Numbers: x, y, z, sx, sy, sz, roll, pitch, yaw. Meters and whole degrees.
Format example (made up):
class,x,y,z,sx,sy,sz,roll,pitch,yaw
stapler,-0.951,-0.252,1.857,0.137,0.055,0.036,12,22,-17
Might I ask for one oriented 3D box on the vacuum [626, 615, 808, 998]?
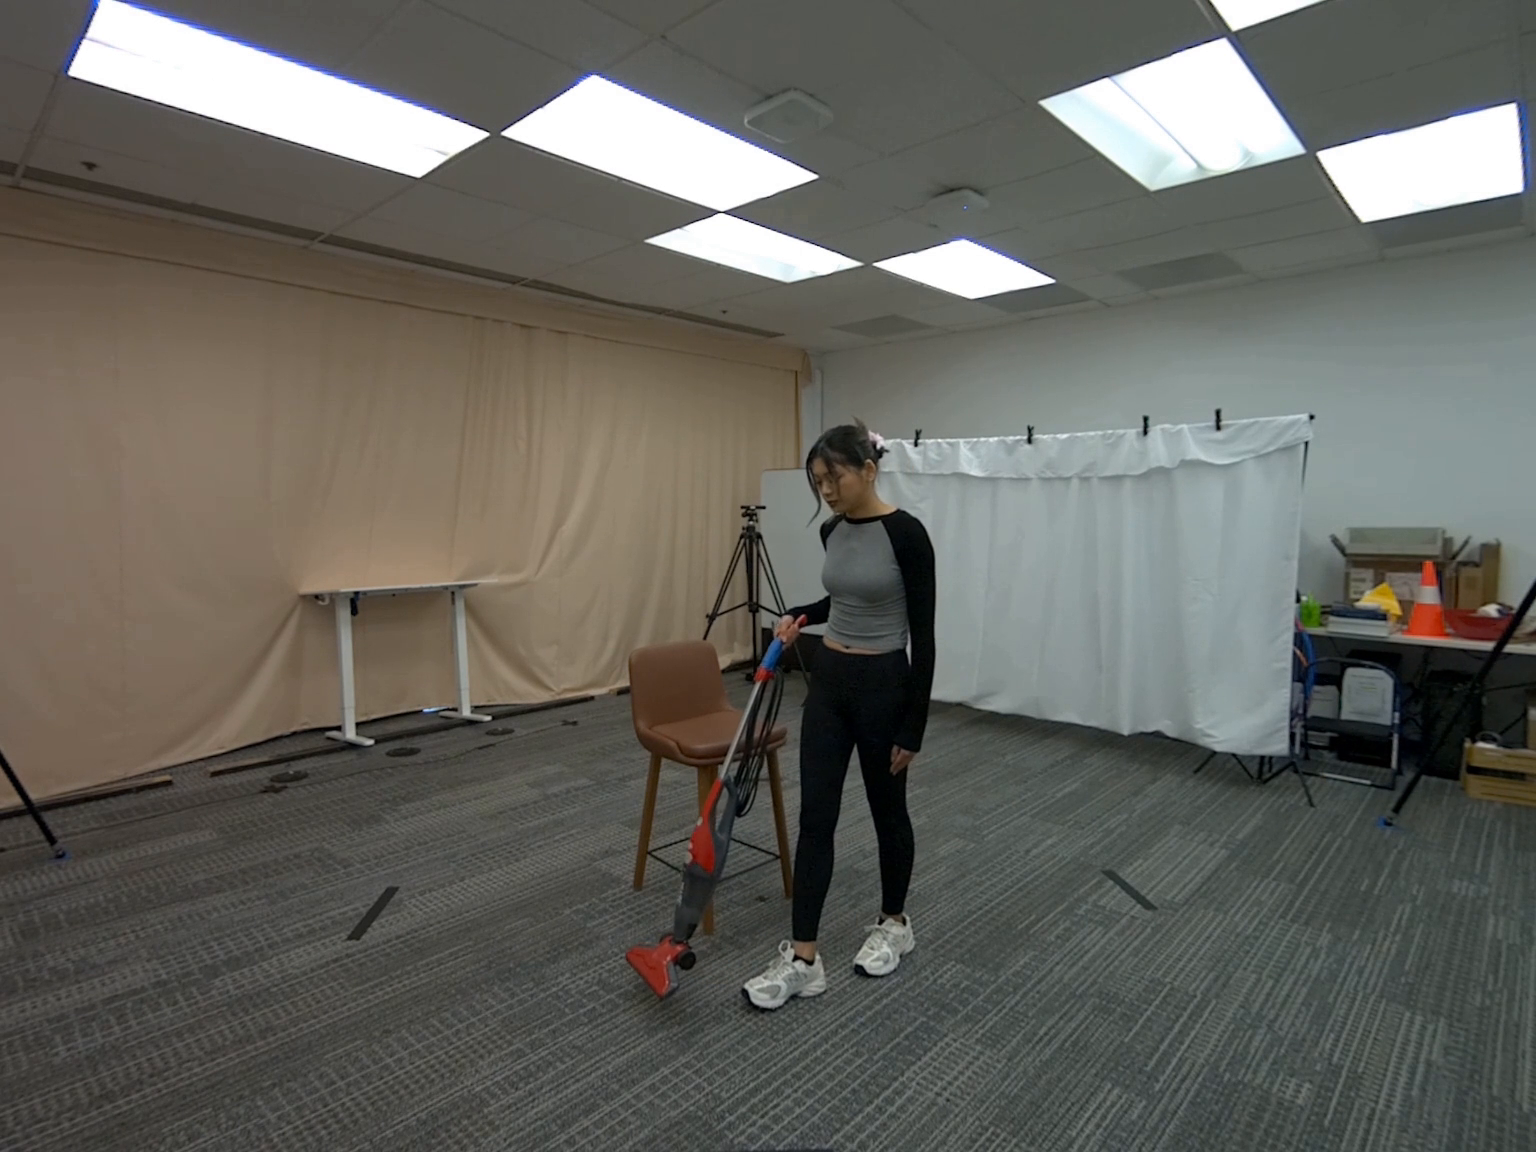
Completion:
class,x,y,z,sx,sy,sz,roll,pitch,yaw
vacuum,-0.105,0.624,2.447,0.139,1.052,0.261,31,-16,-35
